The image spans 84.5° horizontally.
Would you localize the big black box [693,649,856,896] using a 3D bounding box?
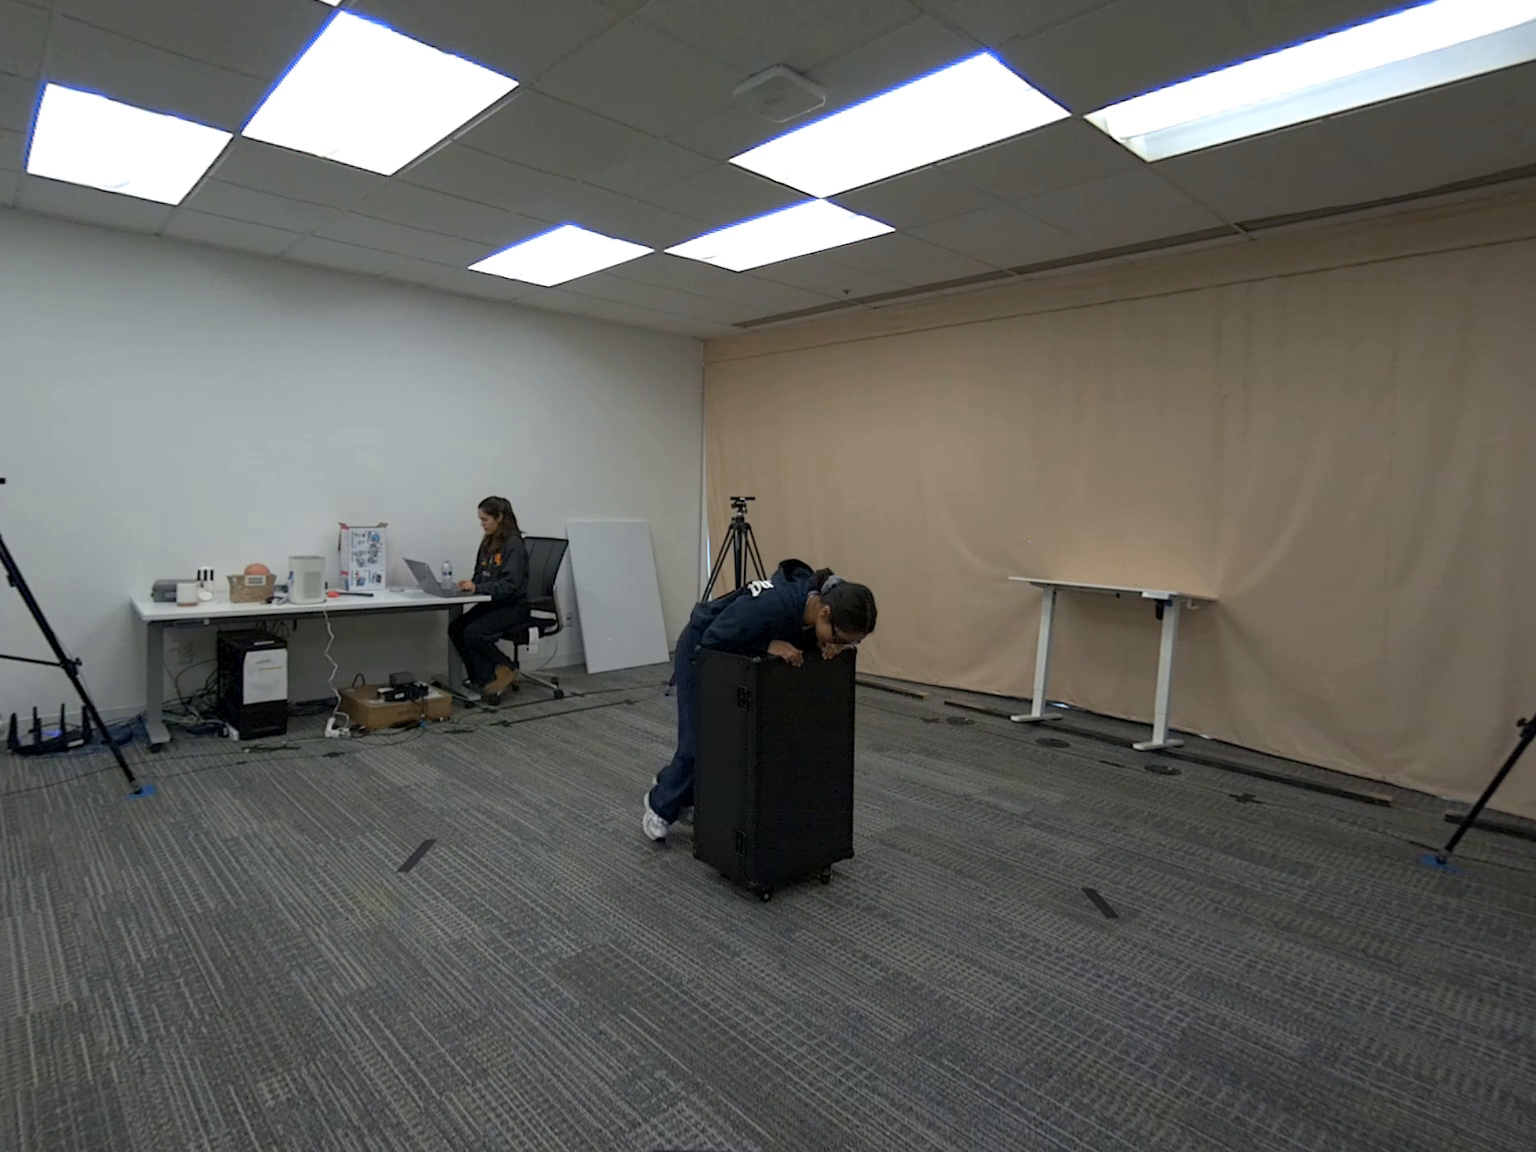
[{"bbox_3d":[0.011,0.691,3.101,0.509,0.860,0.406,-2,2,-40],"label":"big black box"}]
